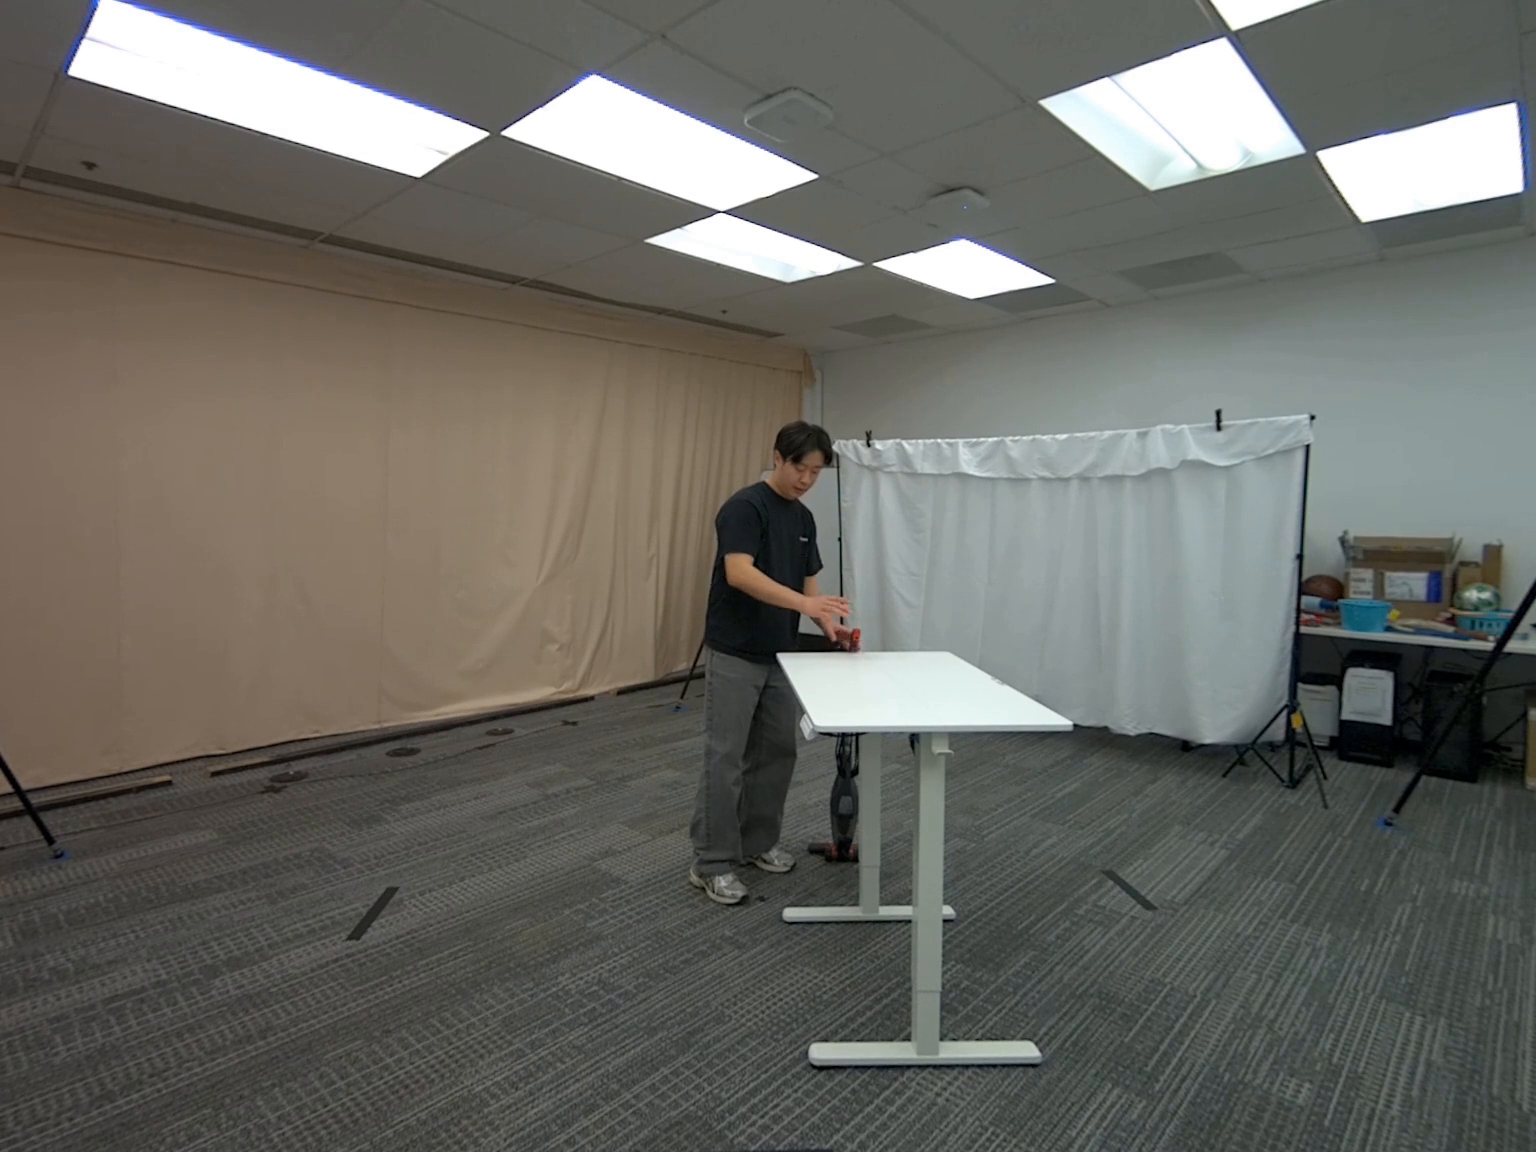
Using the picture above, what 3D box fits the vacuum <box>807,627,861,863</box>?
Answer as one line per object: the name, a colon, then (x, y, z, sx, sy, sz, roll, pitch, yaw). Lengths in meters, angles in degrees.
vacuum: (0.293, 0.650, 3.104, 0.253, 1.032, 0.146, -1, 27, 0)
